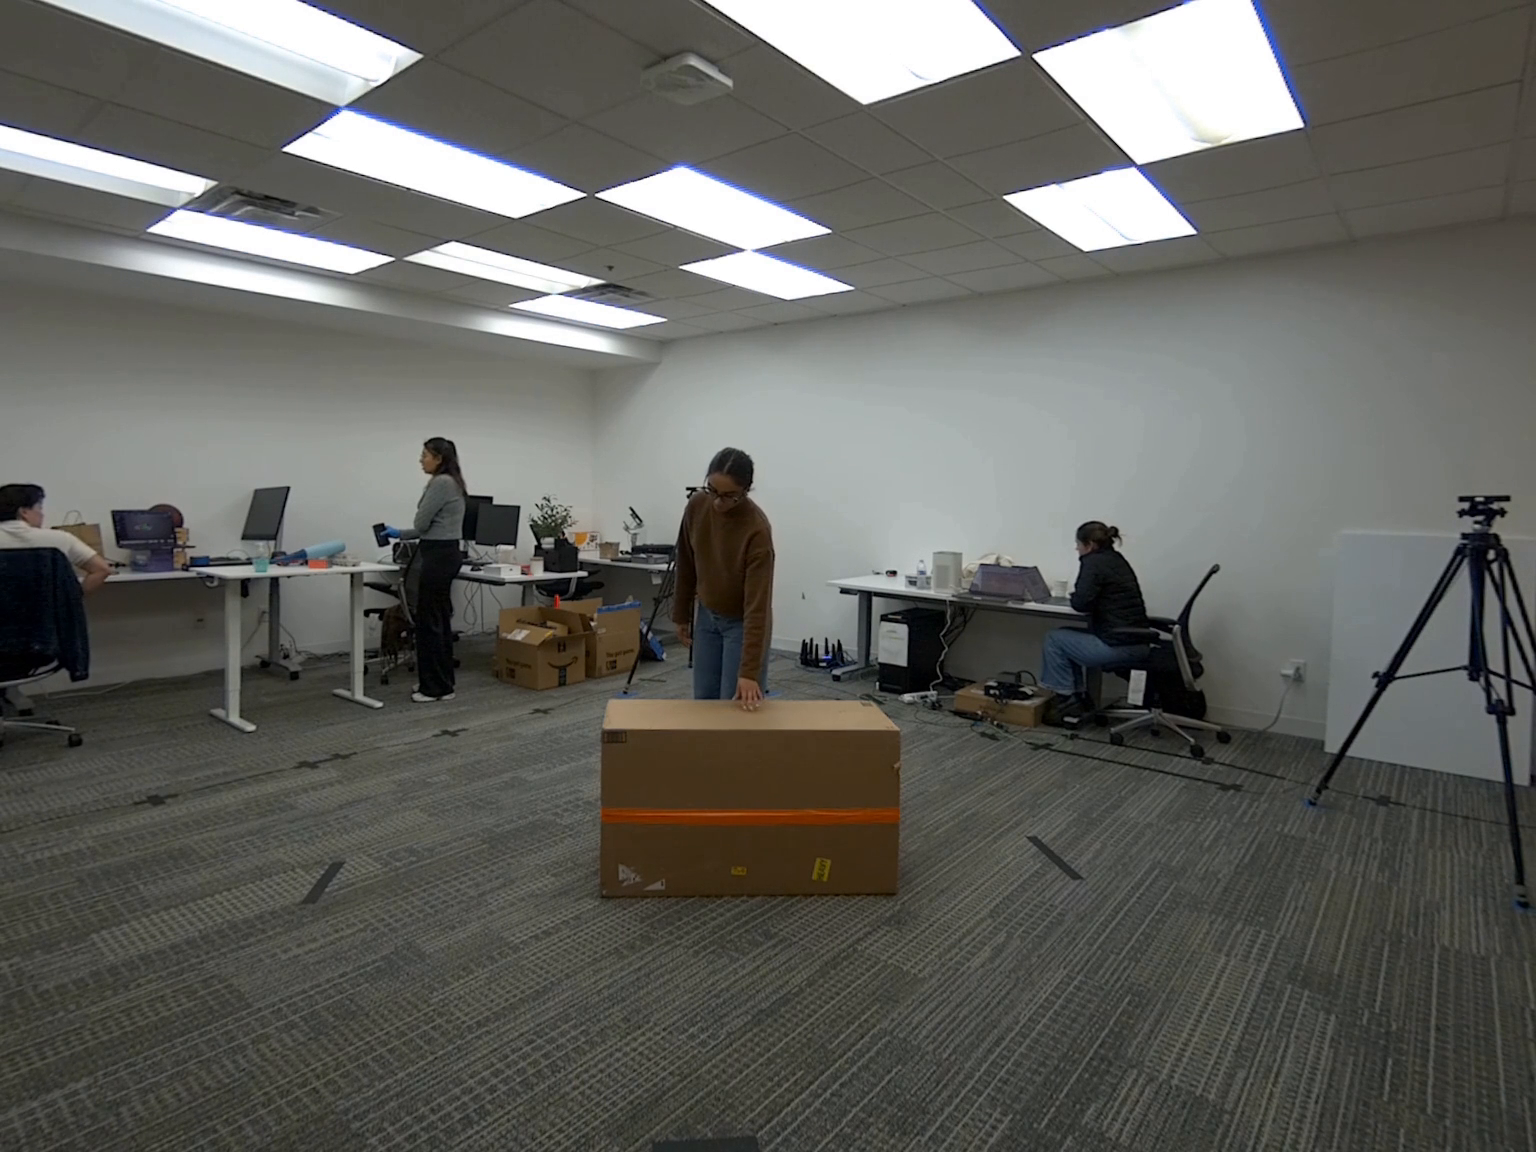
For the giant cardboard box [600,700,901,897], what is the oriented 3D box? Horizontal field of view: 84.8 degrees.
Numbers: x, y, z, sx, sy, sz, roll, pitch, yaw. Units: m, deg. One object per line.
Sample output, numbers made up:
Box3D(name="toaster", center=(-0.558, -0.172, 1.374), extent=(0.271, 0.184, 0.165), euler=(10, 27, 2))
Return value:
Box3D(name="giant cardboard box", center=(-0.087, 0.783, 3.083), extent=(1.023, 0.583, 0.449), euler=(1, 2, -4))
